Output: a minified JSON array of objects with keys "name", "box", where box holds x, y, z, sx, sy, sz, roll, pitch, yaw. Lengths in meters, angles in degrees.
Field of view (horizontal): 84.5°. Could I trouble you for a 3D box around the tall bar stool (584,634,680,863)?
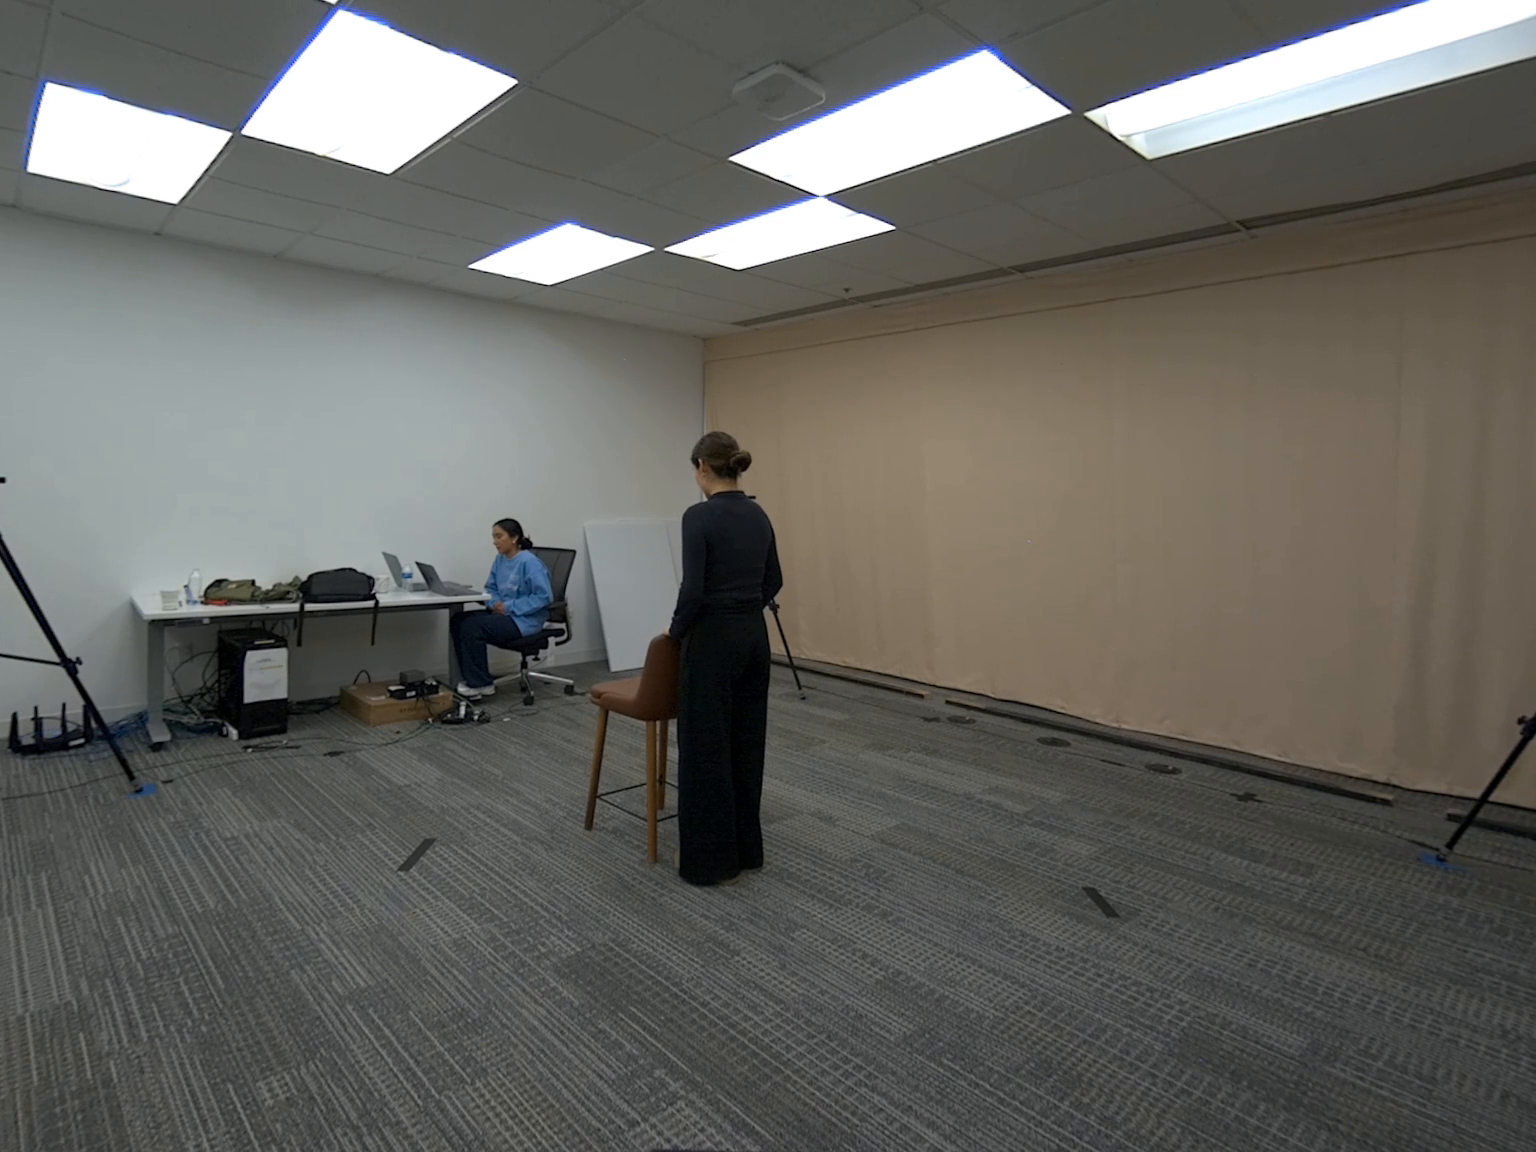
[{"name":"tall bar stool","box":[-0.452,0.626,3.439,0.446,0.886,0.480,-2,7,-43]}]
